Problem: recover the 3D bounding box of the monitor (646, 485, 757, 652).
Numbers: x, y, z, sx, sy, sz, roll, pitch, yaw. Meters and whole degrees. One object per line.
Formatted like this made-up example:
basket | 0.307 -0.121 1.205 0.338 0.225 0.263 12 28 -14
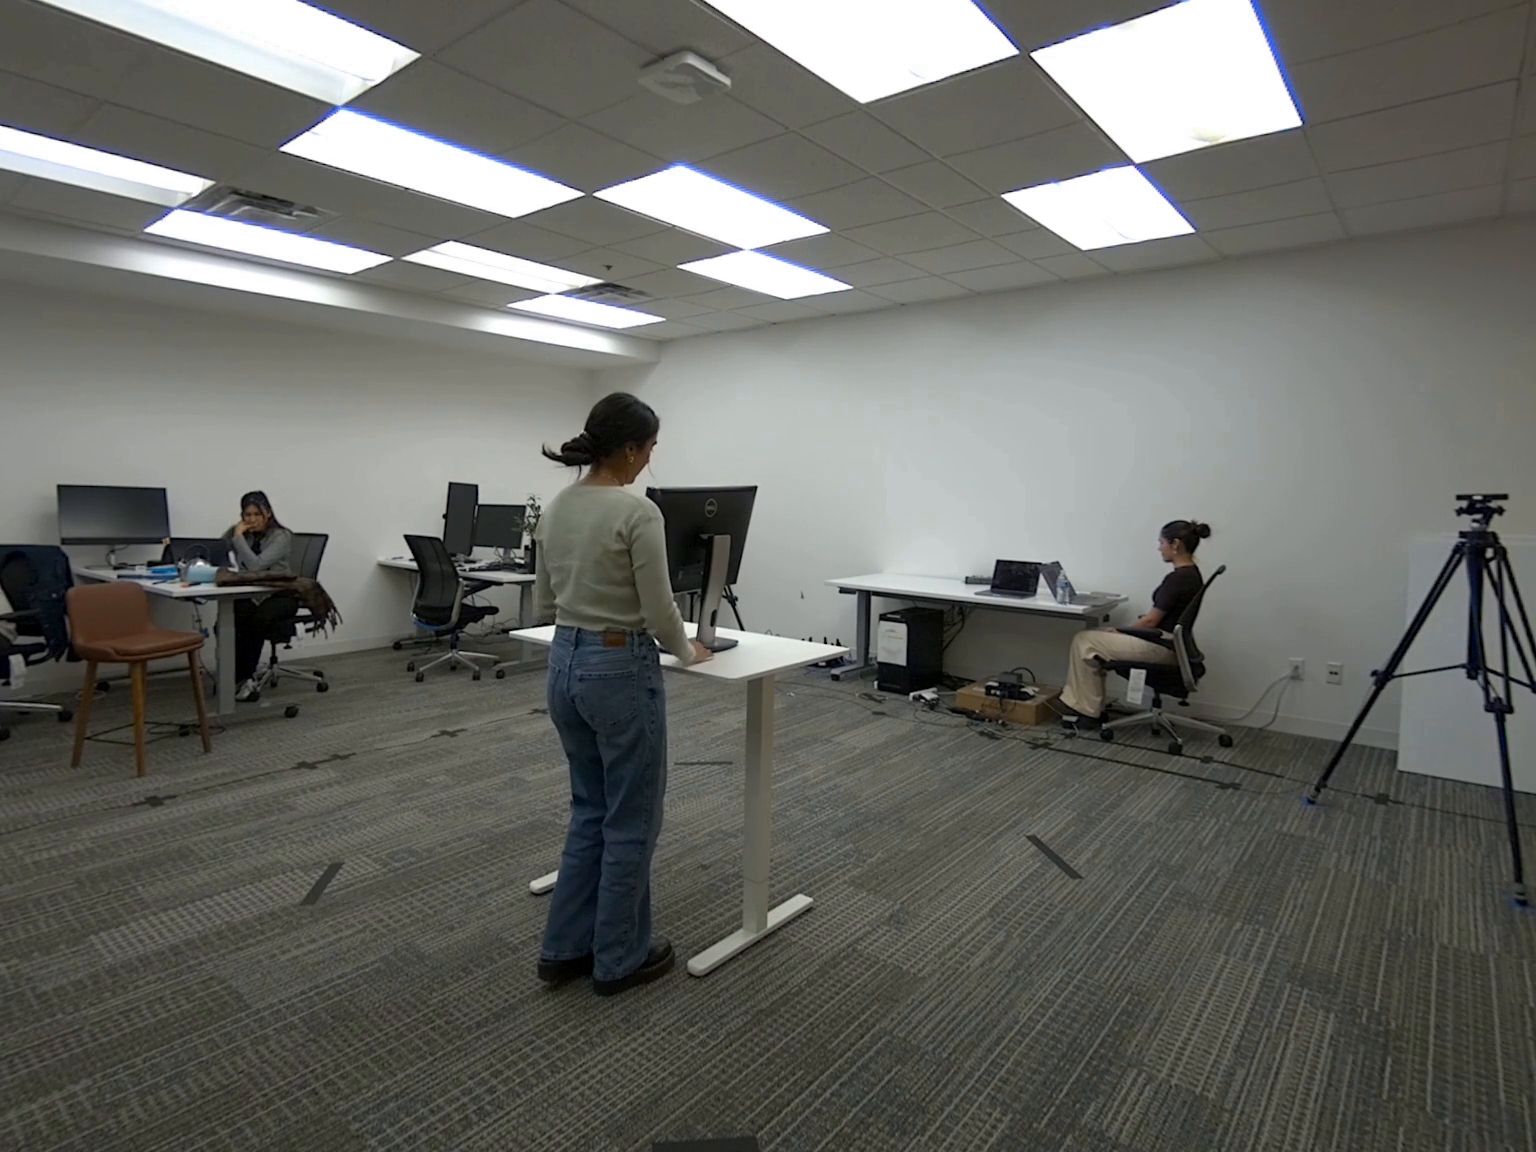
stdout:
monitor | -0.221 -0.031 2.681 0.180 0.514 0.516 0 5 35
